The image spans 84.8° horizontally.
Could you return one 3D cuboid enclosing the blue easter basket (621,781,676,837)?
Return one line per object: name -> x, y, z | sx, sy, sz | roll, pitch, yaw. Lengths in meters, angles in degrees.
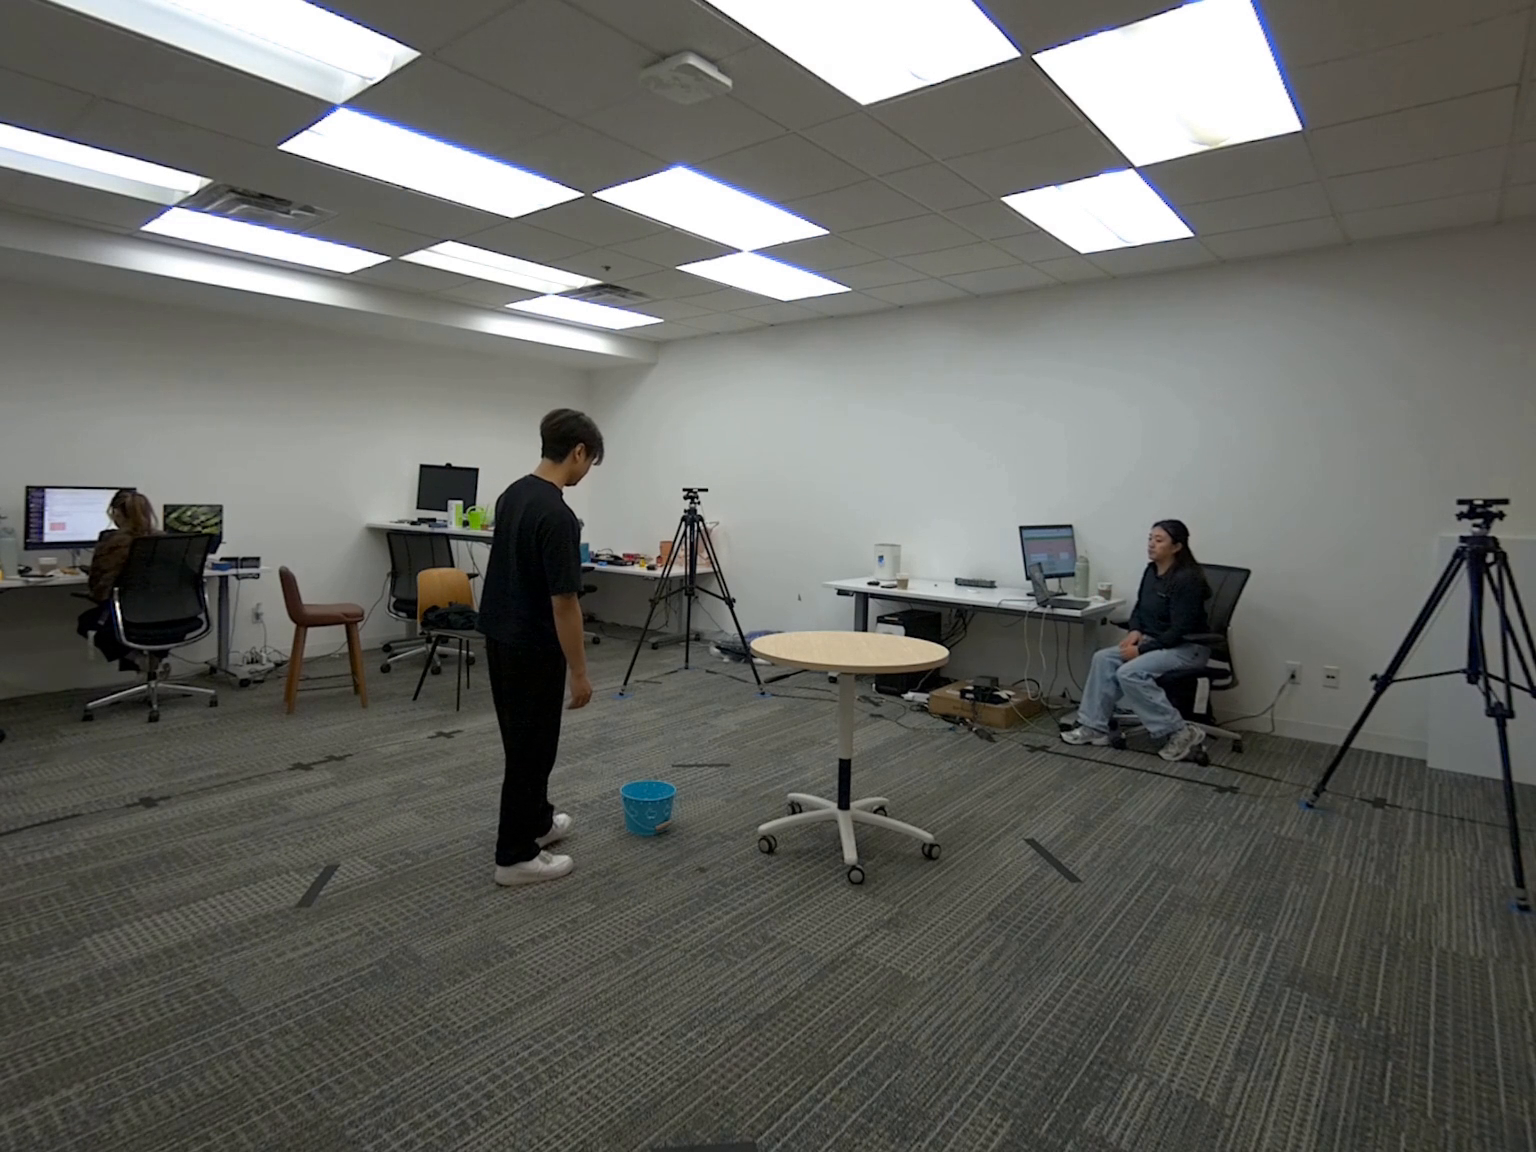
blue easter basket -> -0.506, 0.949, 3.493 | 0.243, 0.155, 0.245 | 1, 5, -2
